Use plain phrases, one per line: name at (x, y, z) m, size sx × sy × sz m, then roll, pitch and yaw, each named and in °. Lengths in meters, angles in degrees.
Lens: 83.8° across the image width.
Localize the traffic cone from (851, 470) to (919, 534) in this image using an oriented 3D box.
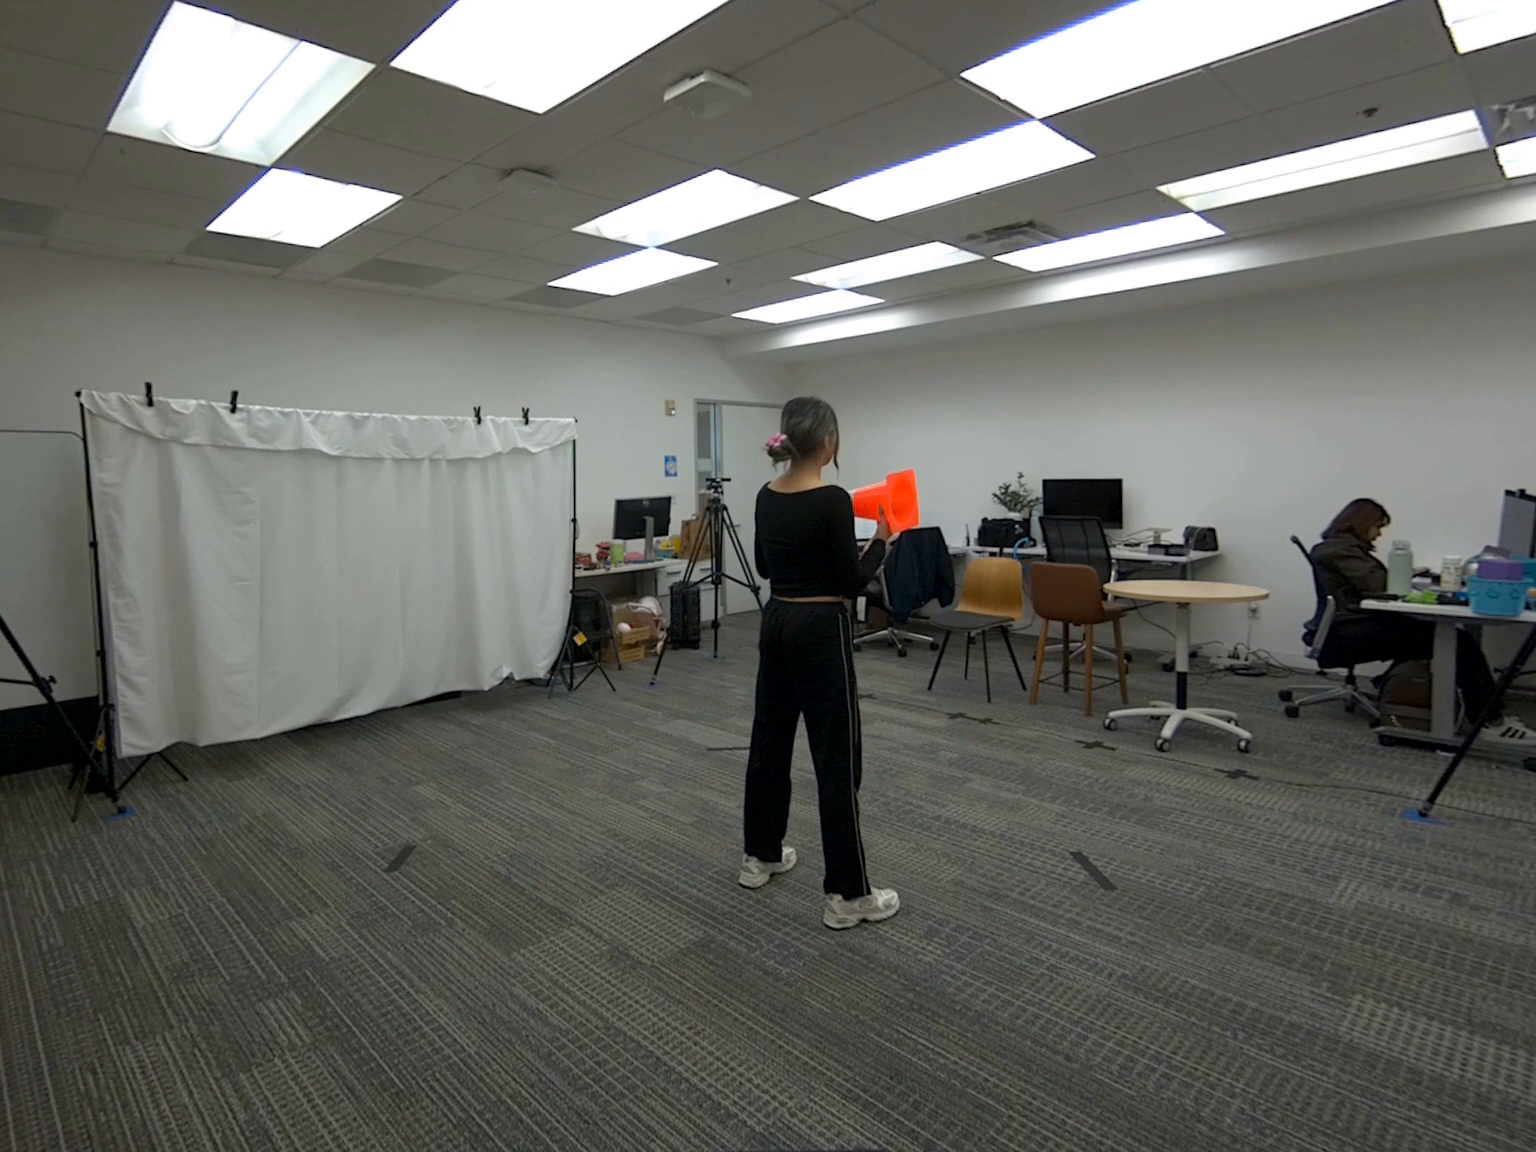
traffic cone at (0.317, -0.260, 3.005) m, size 0.395 × 0.203 × 0.199 m, roll 2°, pitch 12°, yaw 40°
